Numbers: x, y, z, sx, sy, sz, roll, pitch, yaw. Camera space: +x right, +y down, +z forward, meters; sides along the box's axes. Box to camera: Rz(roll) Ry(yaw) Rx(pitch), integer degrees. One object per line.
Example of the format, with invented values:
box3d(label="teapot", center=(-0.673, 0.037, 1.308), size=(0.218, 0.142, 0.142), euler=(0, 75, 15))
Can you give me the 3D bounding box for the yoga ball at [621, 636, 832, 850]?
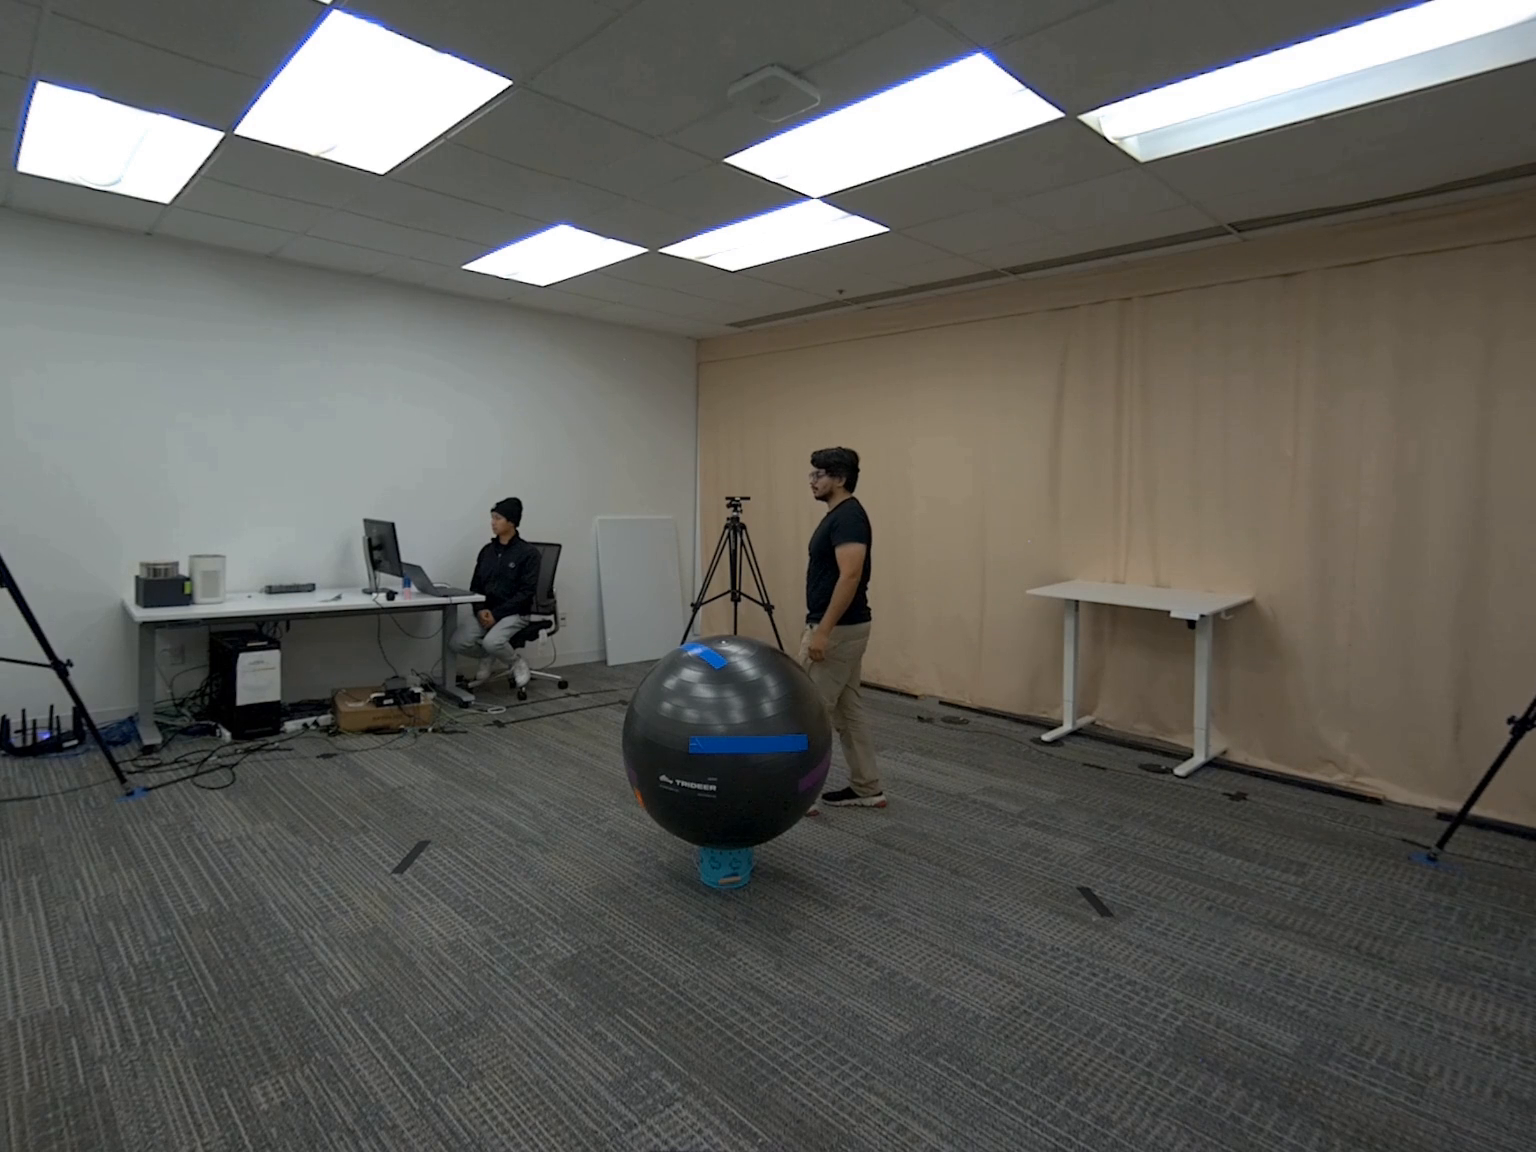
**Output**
box3d(label="yoga ball", center=(-0.155, 0.600, 3.052), size=(0.757, 0.756, 0.760), euler=(1, 4, -1))
